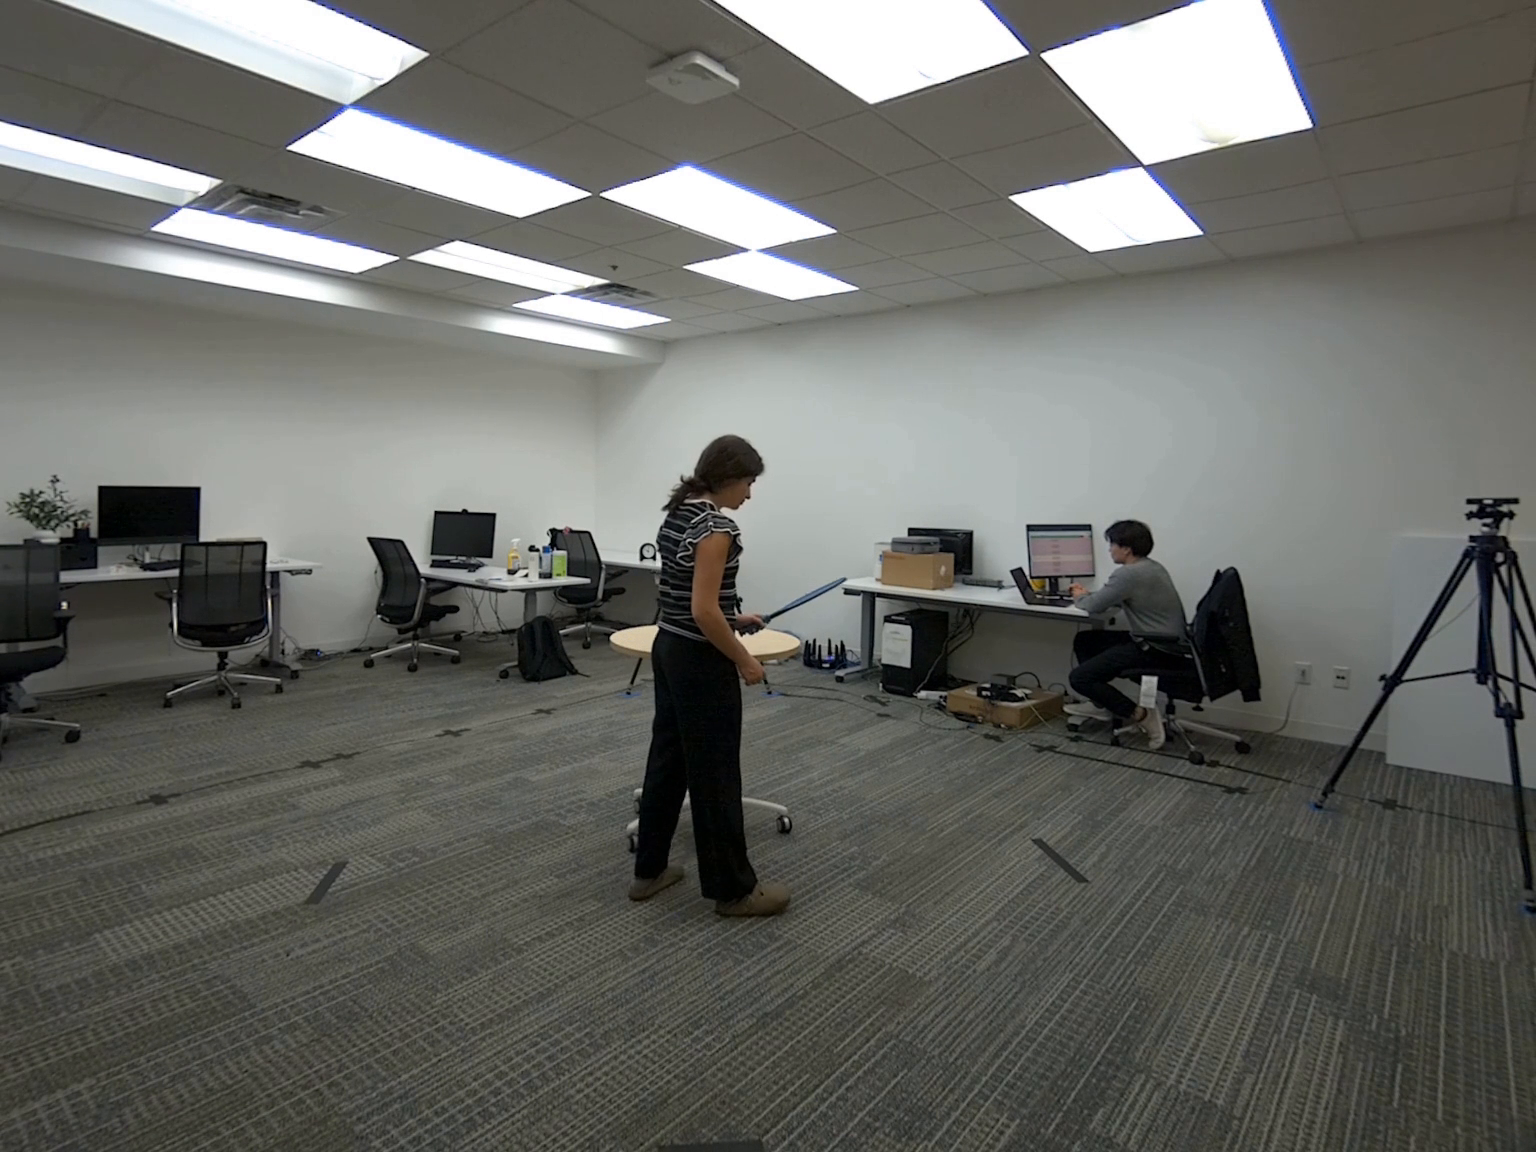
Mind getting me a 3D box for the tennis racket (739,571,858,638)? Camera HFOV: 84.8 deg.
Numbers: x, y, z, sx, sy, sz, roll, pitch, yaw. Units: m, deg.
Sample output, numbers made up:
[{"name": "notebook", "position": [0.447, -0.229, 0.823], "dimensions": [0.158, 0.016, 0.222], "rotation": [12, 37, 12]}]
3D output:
[{"name": "tennis racket", "position": [0.094, 0.103, 3.007], "dimensions": [0.430, 0.032, 0.214], "rotation": [-28, 0, -11]}]
